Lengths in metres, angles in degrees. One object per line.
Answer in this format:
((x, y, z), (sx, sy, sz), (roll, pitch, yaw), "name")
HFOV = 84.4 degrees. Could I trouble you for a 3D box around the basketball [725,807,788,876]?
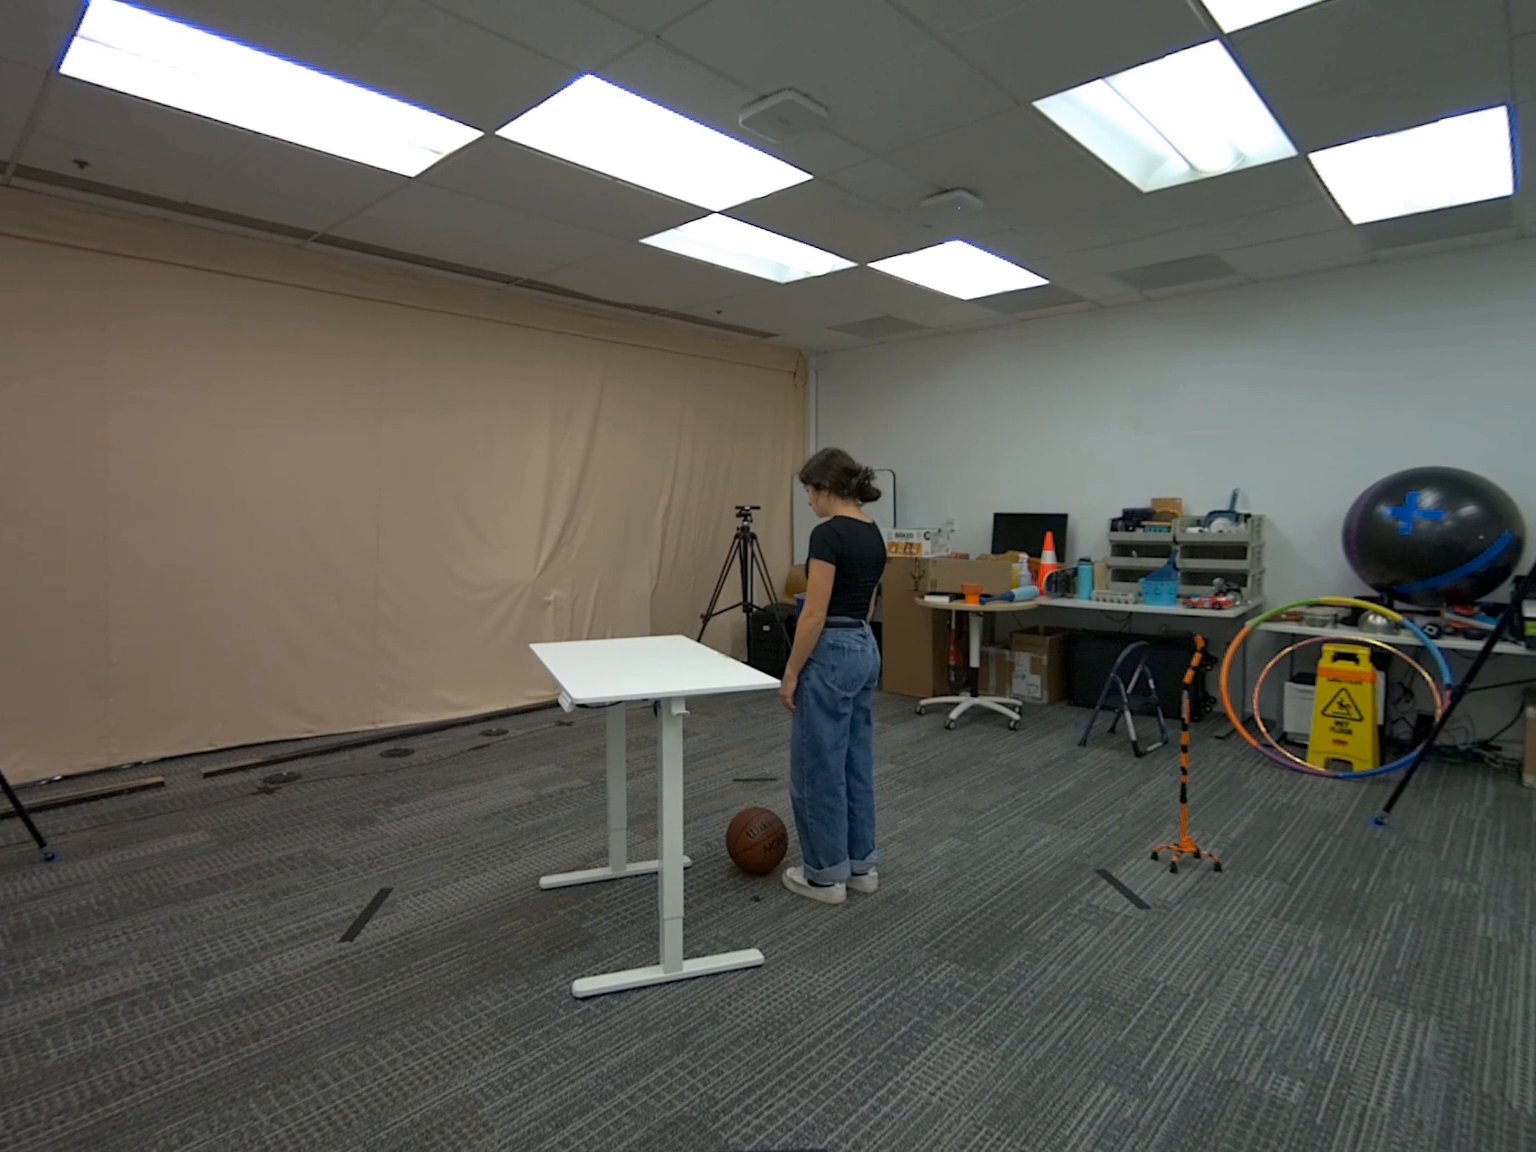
((-0.035, 1.001, 3.209), (0.236, 0.235, 0.237), (0, 4, -2), "basketball")
